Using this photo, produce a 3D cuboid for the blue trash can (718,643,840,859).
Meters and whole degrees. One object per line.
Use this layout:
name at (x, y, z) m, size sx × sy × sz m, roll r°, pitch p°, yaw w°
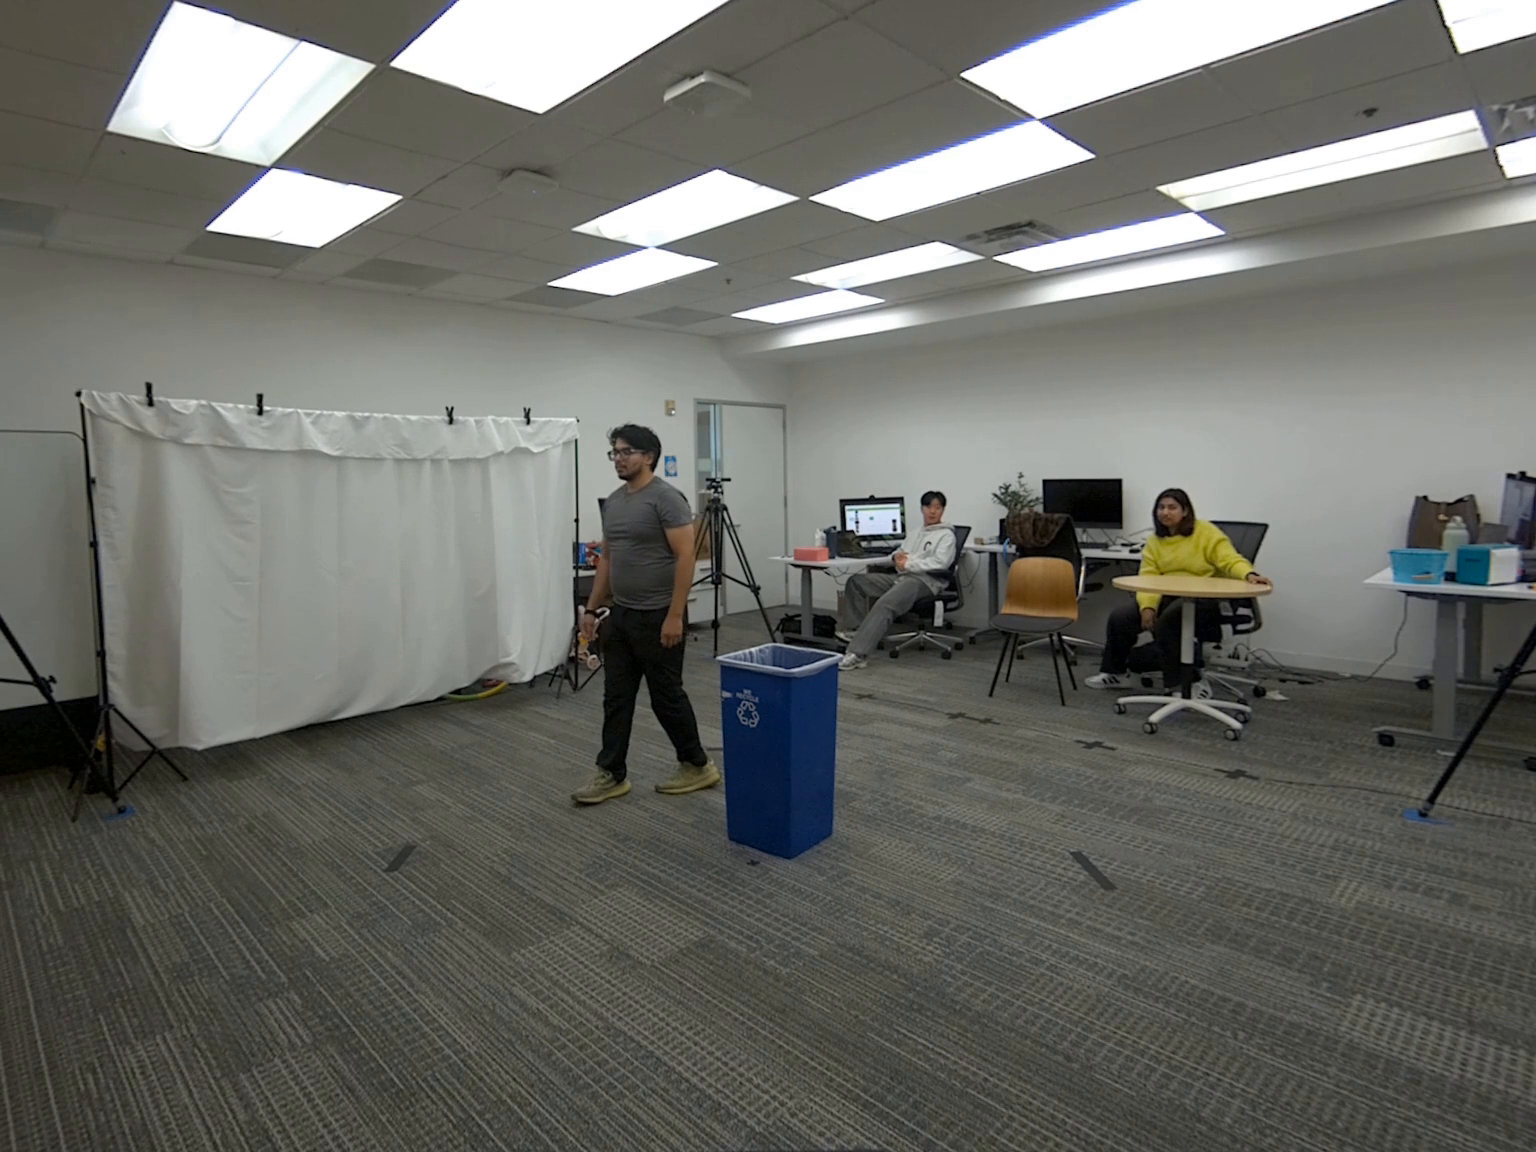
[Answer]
blue trash can at (0.055, 0.661, 3.303) m, size 0.385 × 0.711 × 0.368 m, roll 2°, pitch 5°, yaw 38°
